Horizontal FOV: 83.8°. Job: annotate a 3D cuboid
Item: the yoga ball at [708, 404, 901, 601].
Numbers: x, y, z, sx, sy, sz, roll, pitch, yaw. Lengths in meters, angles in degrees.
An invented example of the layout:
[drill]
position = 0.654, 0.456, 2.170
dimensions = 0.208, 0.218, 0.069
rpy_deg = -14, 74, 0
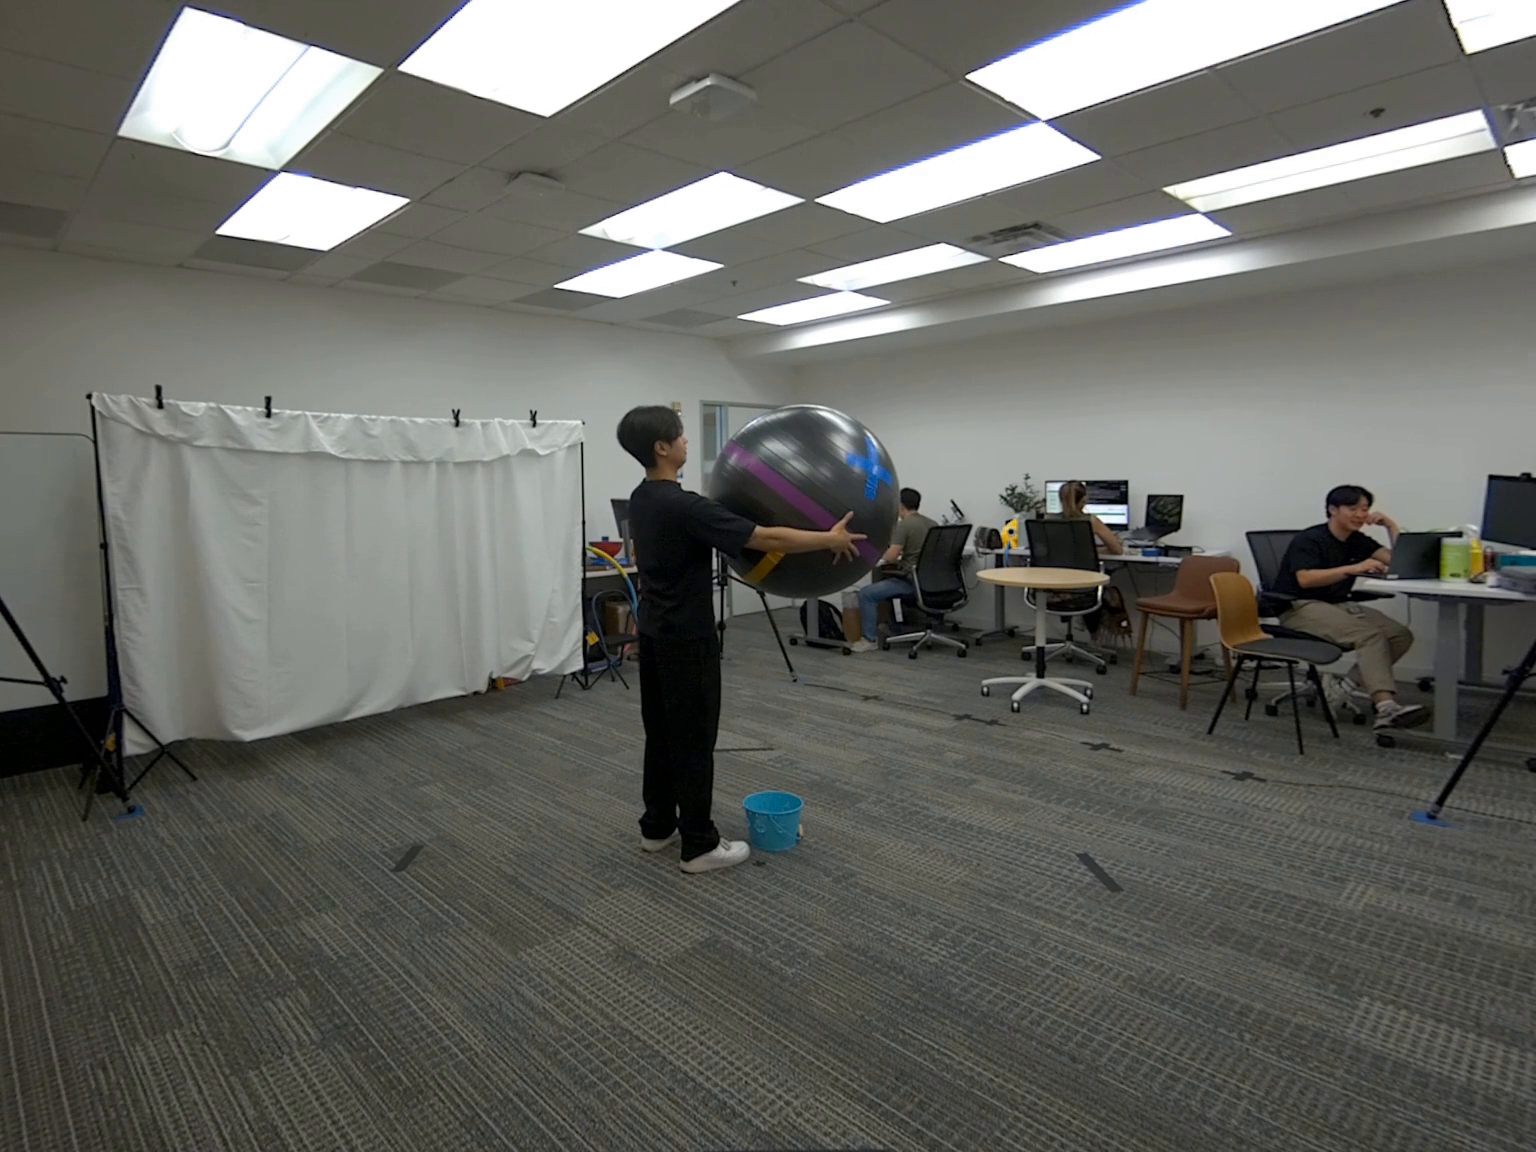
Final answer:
[yoga ball]
position = 0.135, -0.283, 3.377
dimensions = 0.757, 0.755, 0.762
rpy_deg = -1, 5, -2
